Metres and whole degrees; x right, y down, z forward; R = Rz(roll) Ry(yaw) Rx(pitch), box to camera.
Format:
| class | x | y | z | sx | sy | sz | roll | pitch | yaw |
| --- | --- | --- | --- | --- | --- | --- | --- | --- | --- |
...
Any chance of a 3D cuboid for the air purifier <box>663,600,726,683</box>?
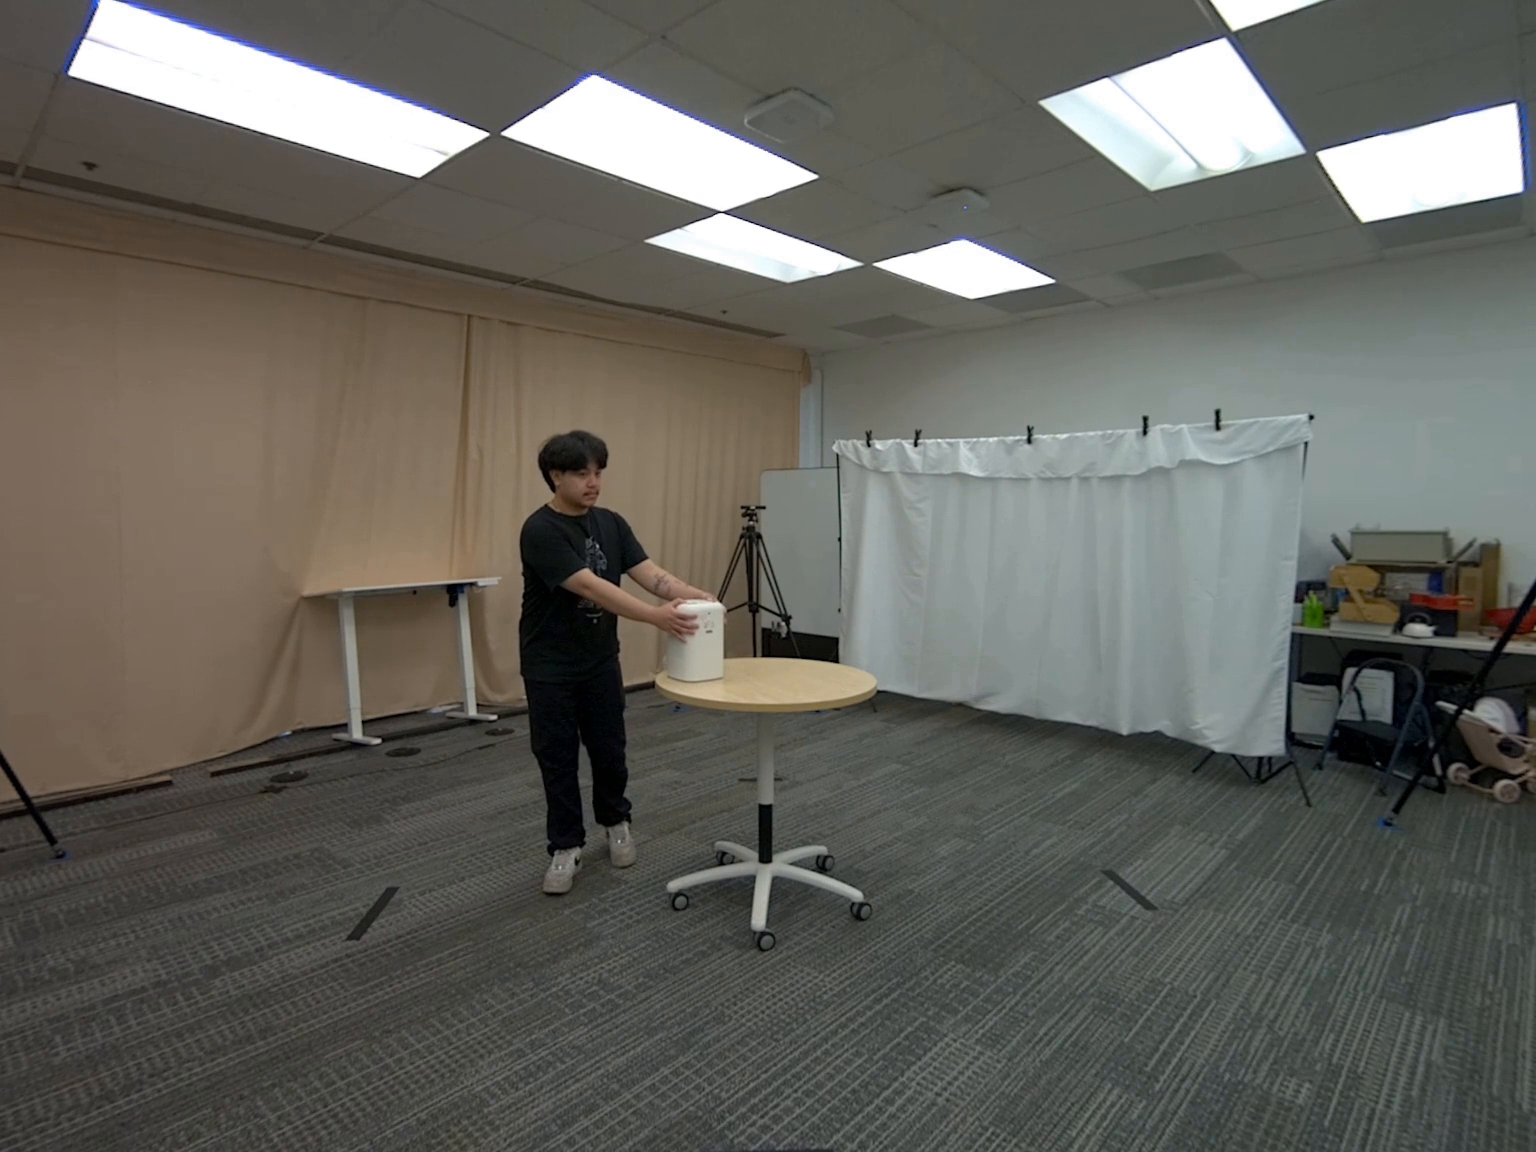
| class | x | y | z | sx | sy | sz | roll | pitch | yaw |
| --- | --- | --- | --- | --- | --- | --- | --- | --- | --- |
| air purifier | -0.249 | 0.223 | 2.940 | 0.166 | 0.265 | 0.177 | -5 | 4 | -37 |
